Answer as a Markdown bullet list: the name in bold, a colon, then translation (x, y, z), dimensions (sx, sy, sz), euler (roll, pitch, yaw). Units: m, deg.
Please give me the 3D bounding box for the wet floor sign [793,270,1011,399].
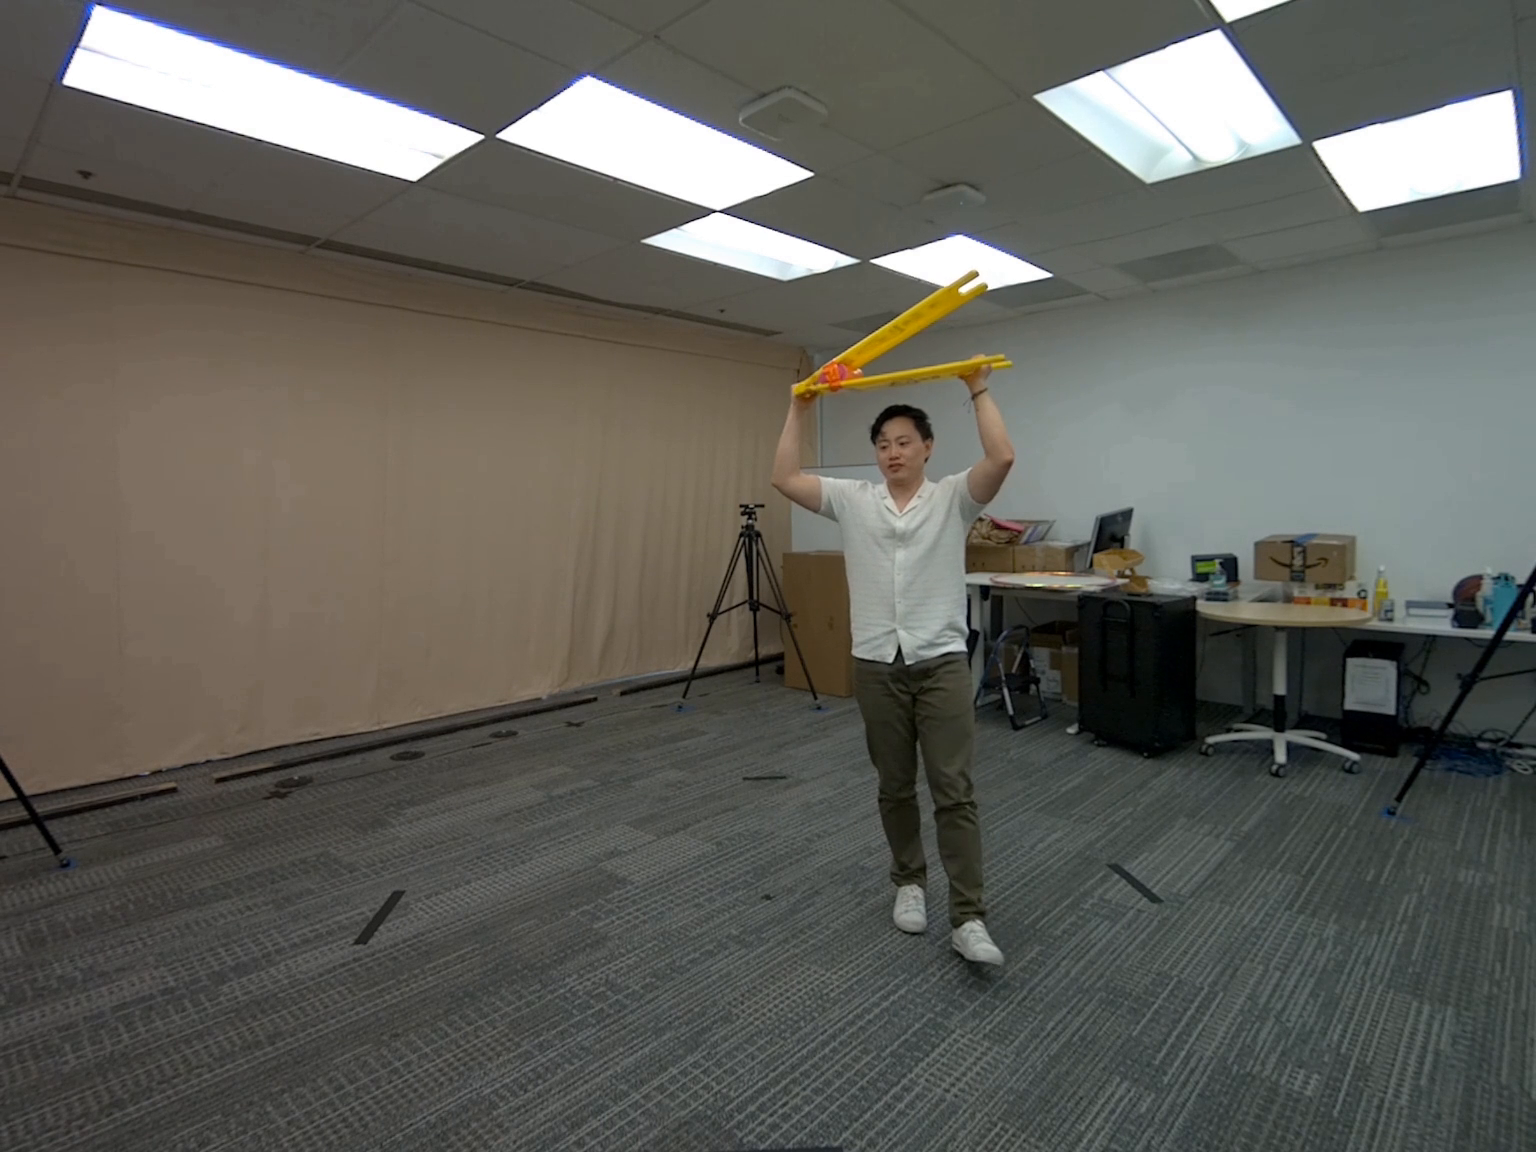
- **wet floor sign**: translation (0.409, -0.690, 2.673), dimensions (0.659, 0.290, 0.276), euler (-17, -1, 25)
